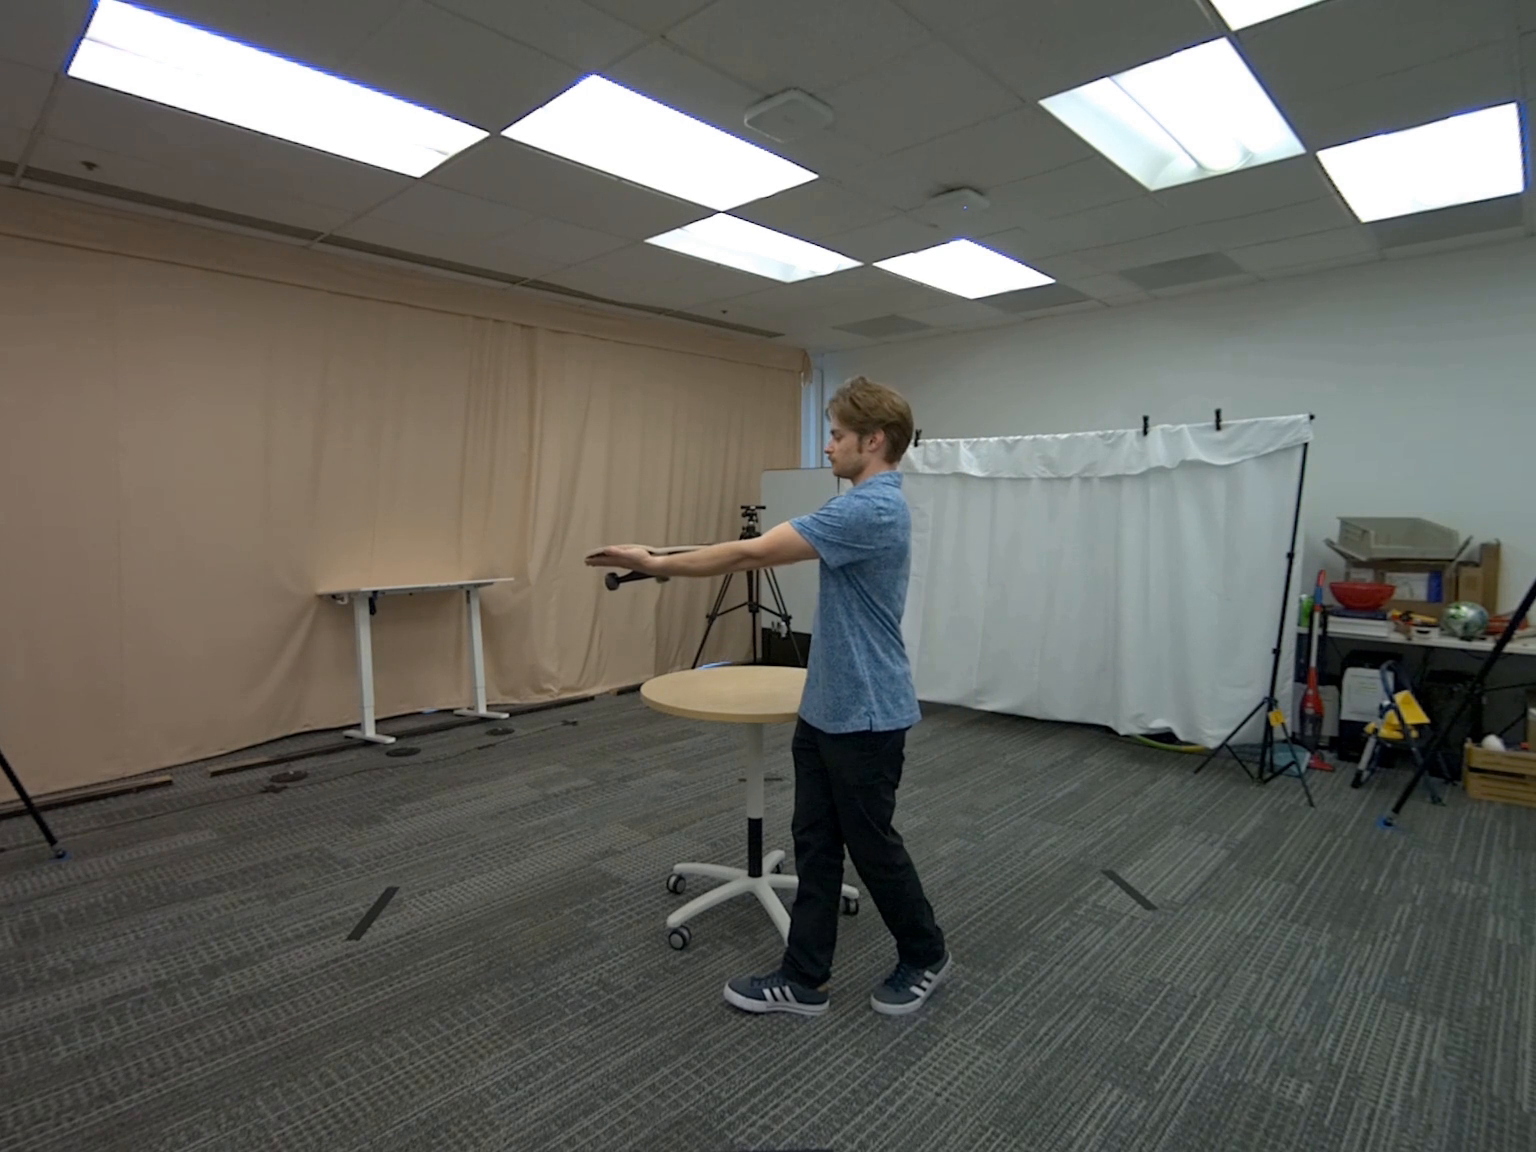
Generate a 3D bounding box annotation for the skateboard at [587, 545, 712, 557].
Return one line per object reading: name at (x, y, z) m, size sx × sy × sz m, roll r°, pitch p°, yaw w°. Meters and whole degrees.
skateboard at (-0.316, -0.033, 2.475) m, size 0.196 × 0.110 × 0.774 m, roll -11°, pitch 0°, yaw 13°
